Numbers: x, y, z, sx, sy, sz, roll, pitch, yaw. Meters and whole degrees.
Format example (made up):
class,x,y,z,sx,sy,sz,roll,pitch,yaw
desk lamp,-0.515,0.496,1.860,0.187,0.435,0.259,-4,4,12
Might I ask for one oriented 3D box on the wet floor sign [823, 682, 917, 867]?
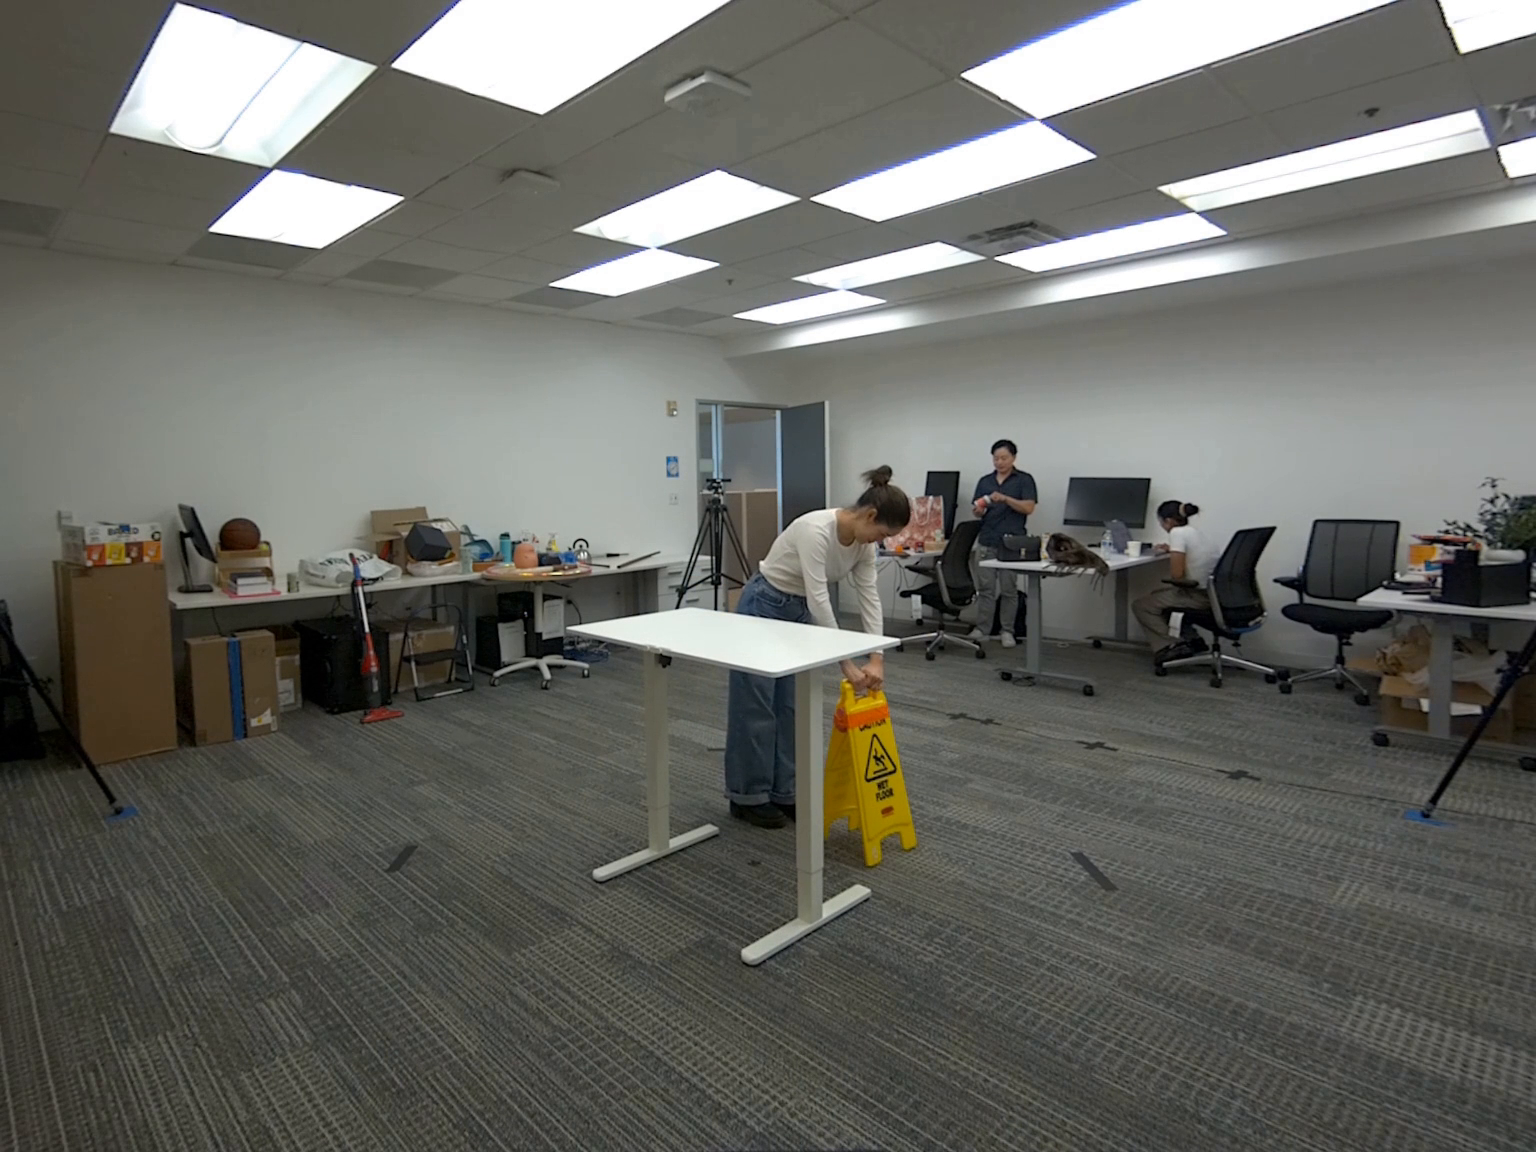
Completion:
class,x,y,z,sx,sy,sz,roll,pitch,yaw
wet floor sign,0.353,0.696,3.226,0.275,0.645,0.298,-4,3,-42
